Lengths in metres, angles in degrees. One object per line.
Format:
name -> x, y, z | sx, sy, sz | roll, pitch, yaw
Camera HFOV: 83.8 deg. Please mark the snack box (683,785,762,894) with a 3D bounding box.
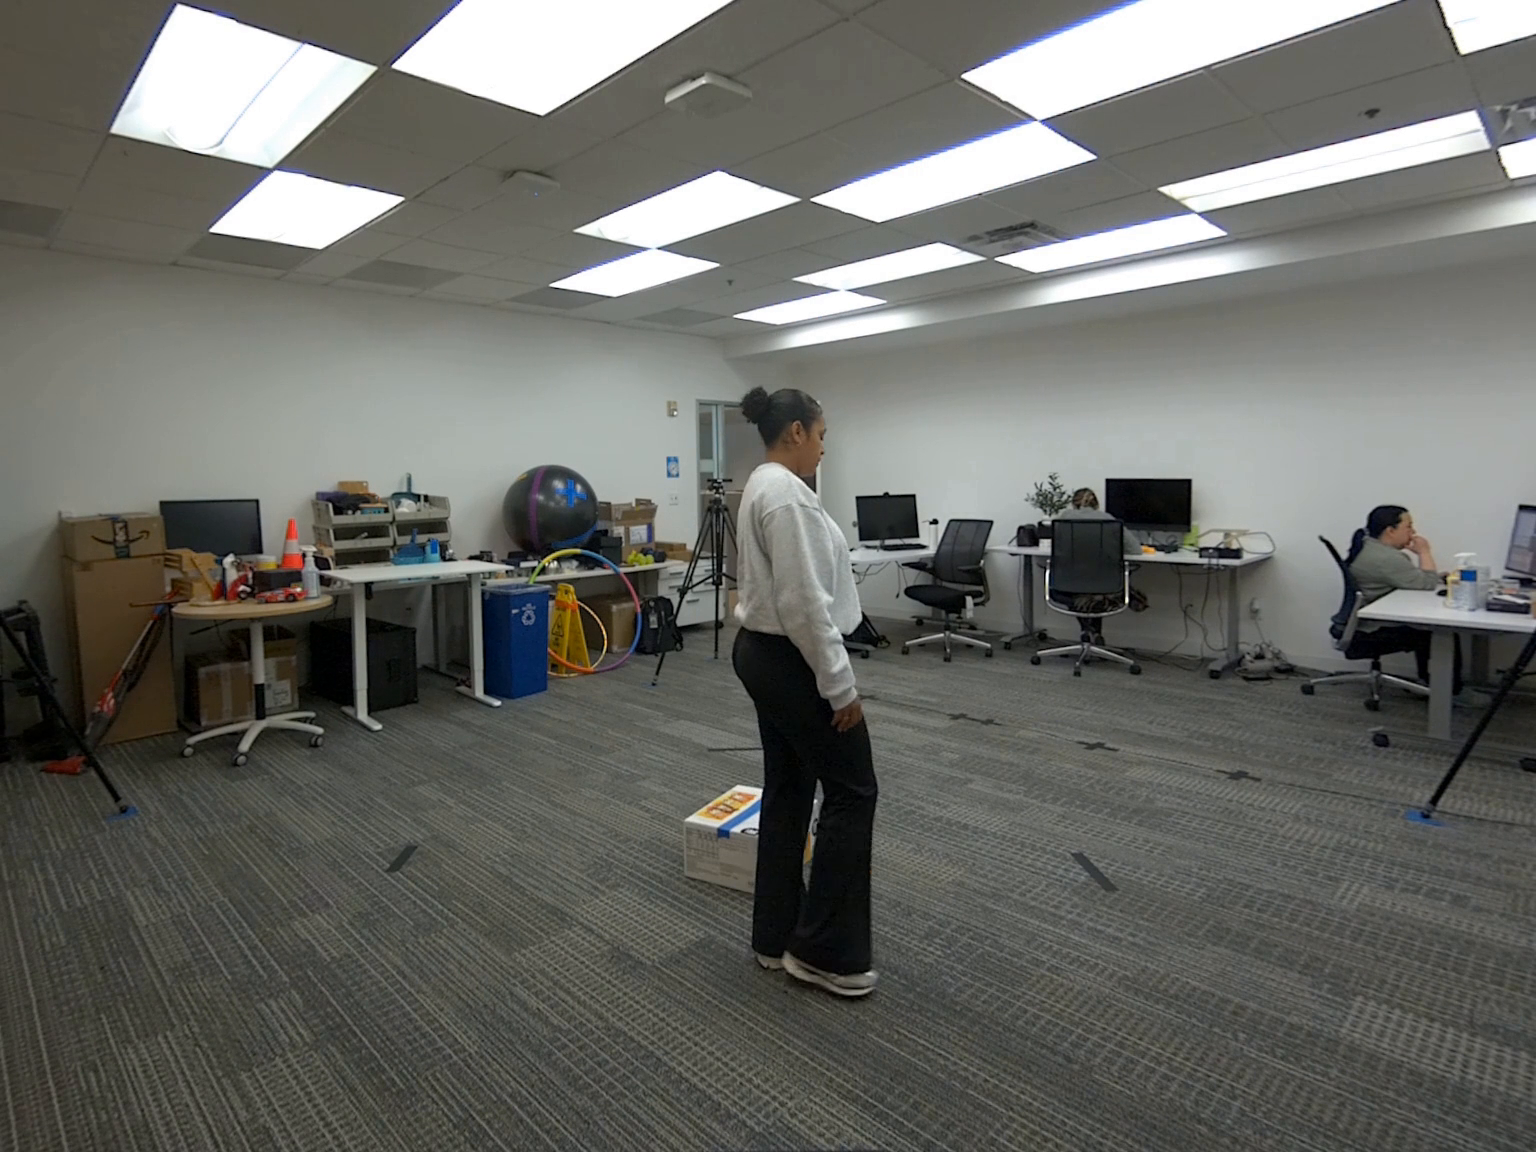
snack box -> -0.053, 0.946, 3.091 | 0.349, 0.205, 0.397 | 2, 6, 28
